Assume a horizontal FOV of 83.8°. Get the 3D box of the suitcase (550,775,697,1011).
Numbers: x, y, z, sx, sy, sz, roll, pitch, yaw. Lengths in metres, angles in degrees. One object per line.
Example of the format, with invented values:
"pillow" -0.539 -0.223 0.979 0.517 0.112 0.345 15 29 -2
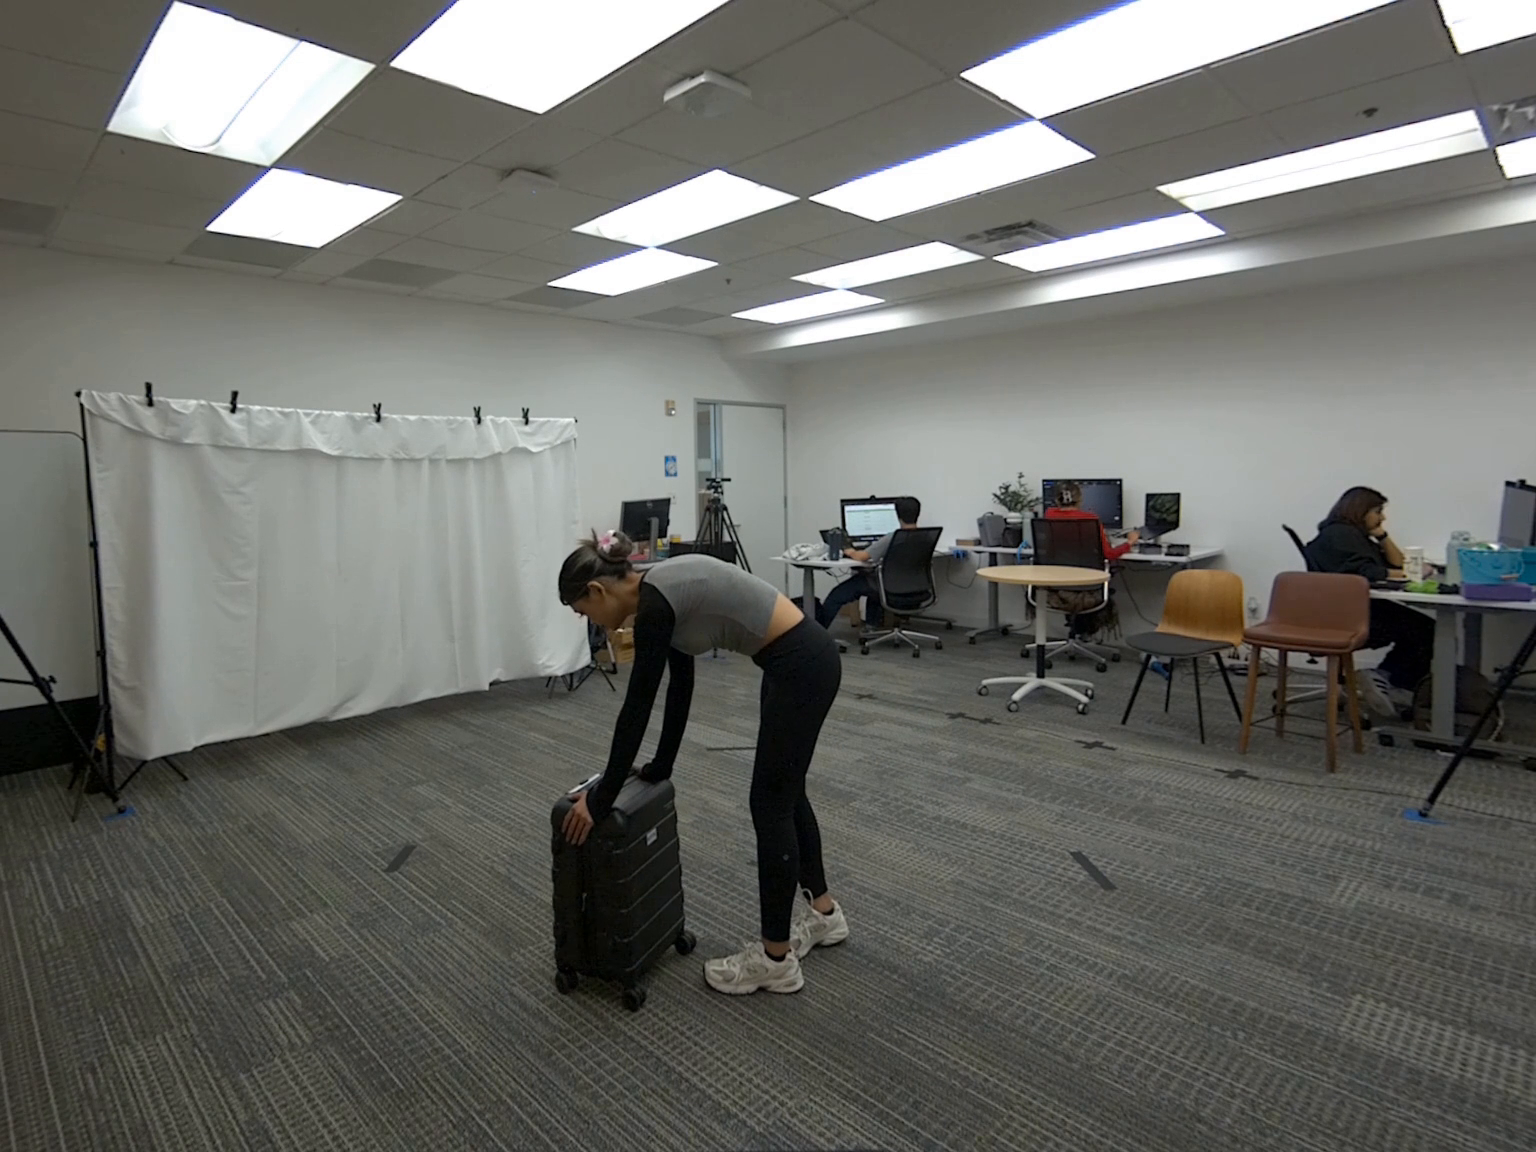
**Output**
"suitcase" -0.420 0.856 2.445 0.254 0.548 0.368 -1 3 24
